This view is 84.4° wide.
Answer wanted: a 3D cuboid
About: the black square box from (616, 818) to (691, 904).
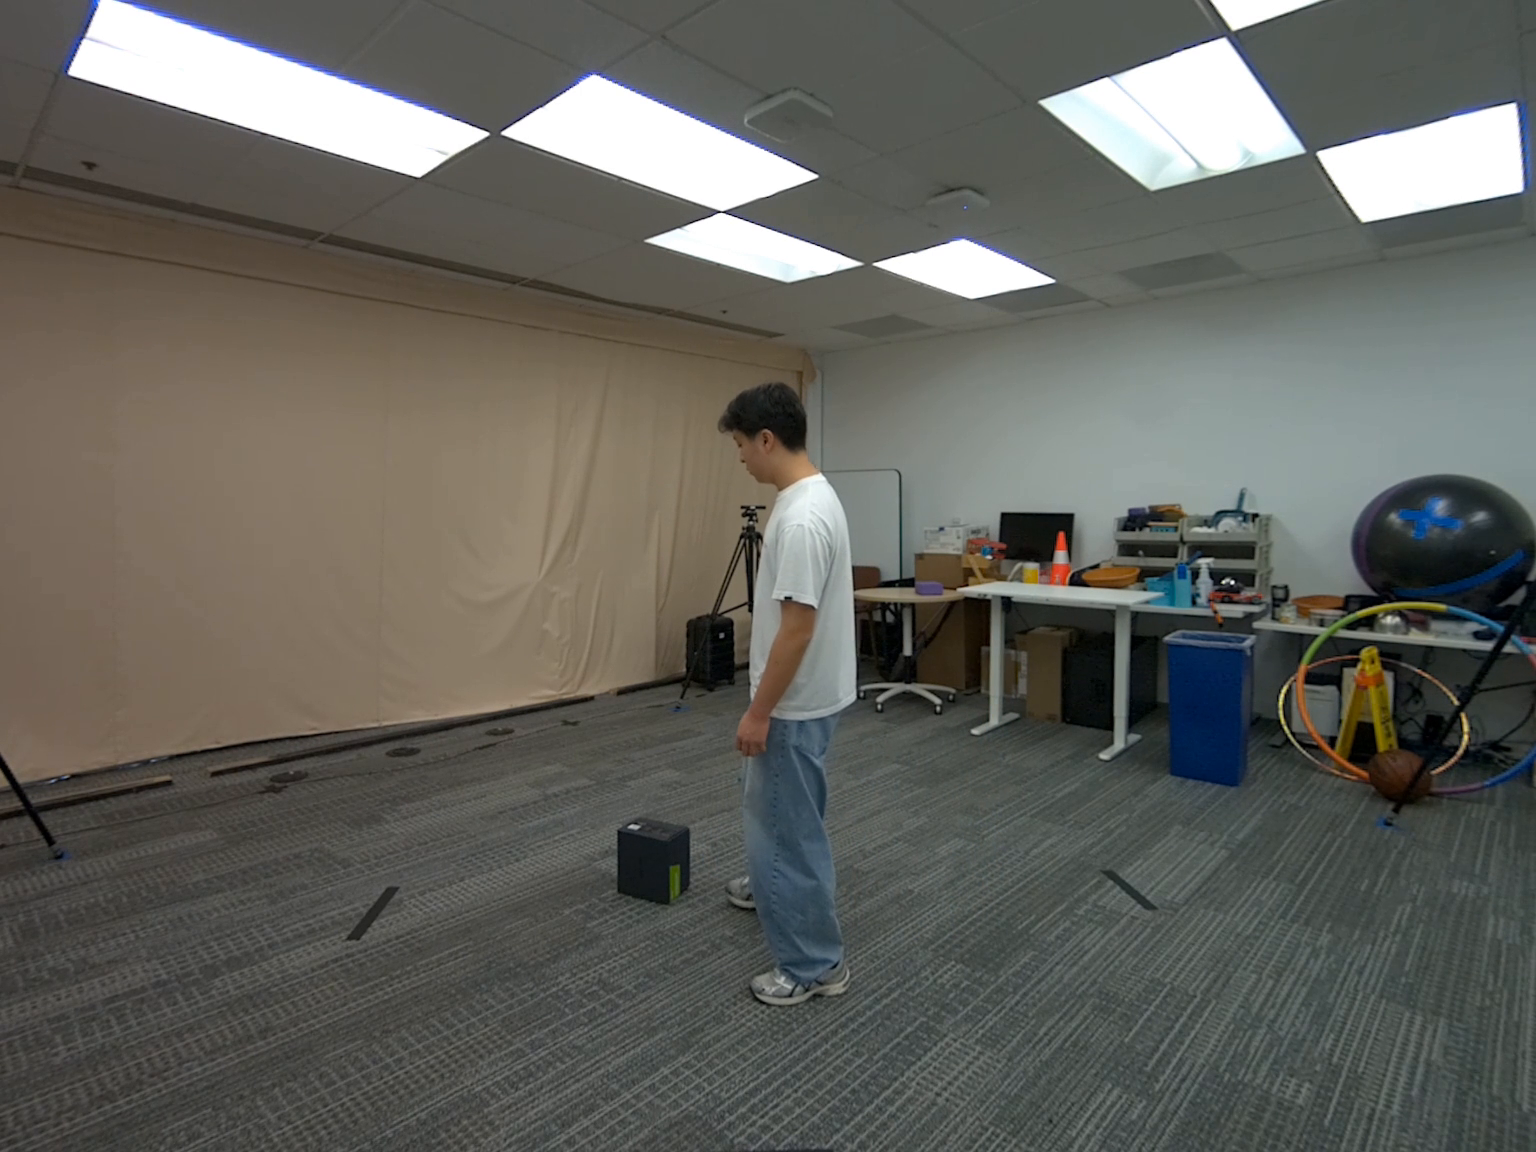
[{"bbox_3d":[-0.412,1.020,3.042,0.223,0.227,0.152,2,3,26],"label":"black square box"}]
